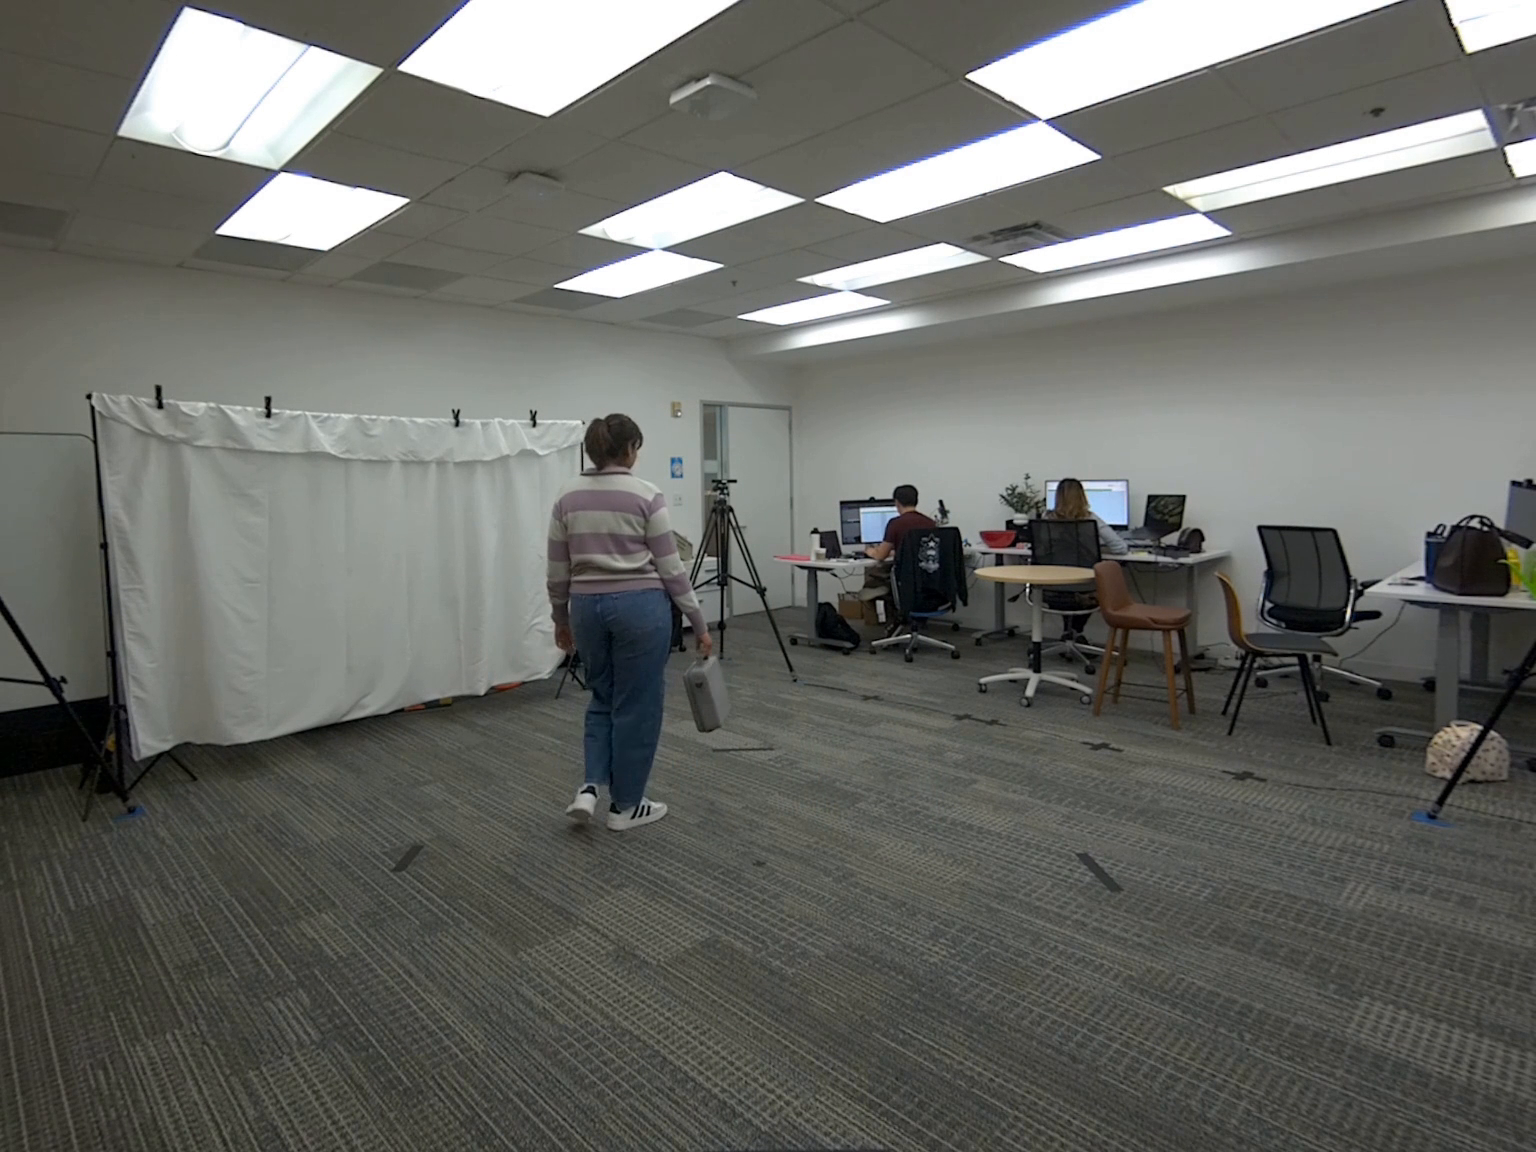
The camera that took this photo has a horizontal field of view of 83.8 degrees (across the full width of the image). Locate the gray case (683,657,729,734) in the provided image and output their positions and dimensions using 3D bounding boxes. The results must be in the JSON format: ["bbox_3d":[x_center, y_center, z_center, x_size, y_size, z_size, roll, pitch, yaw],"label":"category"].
[{"bbox_3d":[-0.257,0.467,3.458,0.105,0.259,0.256,-10,5,9],"label":"gray case"}]
